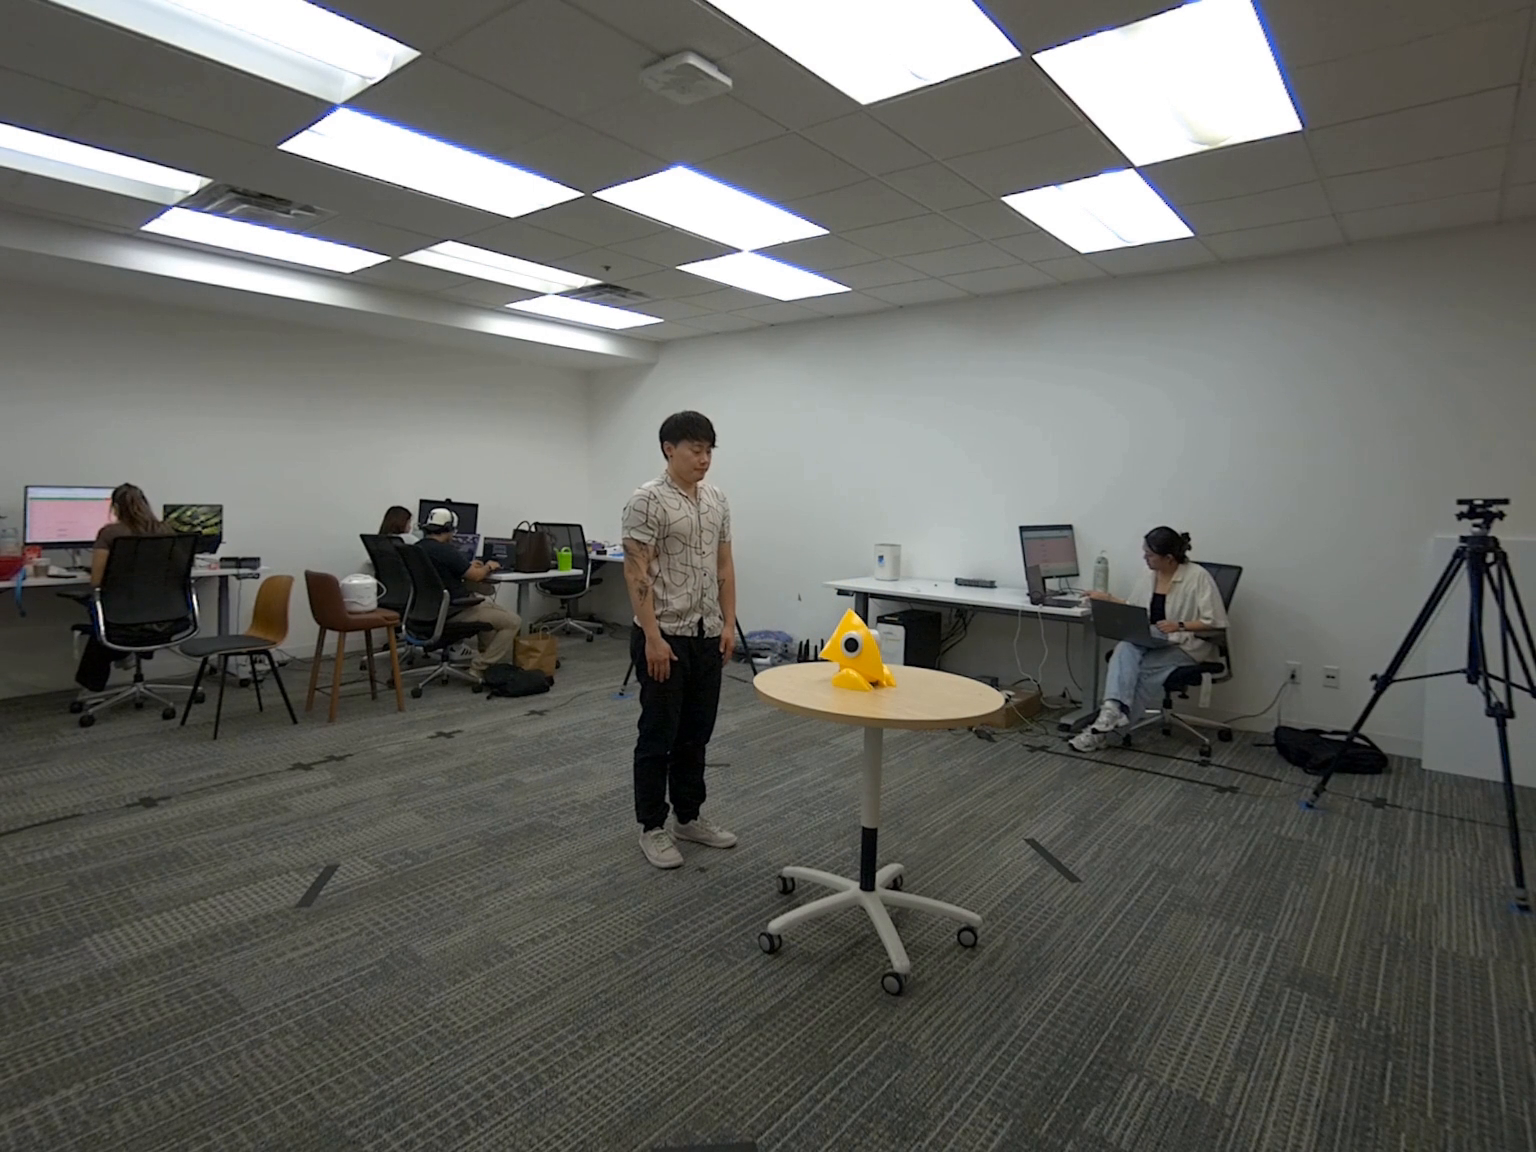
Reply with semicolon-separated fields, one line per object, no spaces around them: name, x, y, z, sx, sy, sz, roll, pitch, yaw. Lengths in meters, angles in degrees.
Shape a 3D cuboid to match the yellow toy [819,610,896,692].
yellow toy;0.292;0.225;2.690;0.198;0.230;0.200;-1;5;-42
